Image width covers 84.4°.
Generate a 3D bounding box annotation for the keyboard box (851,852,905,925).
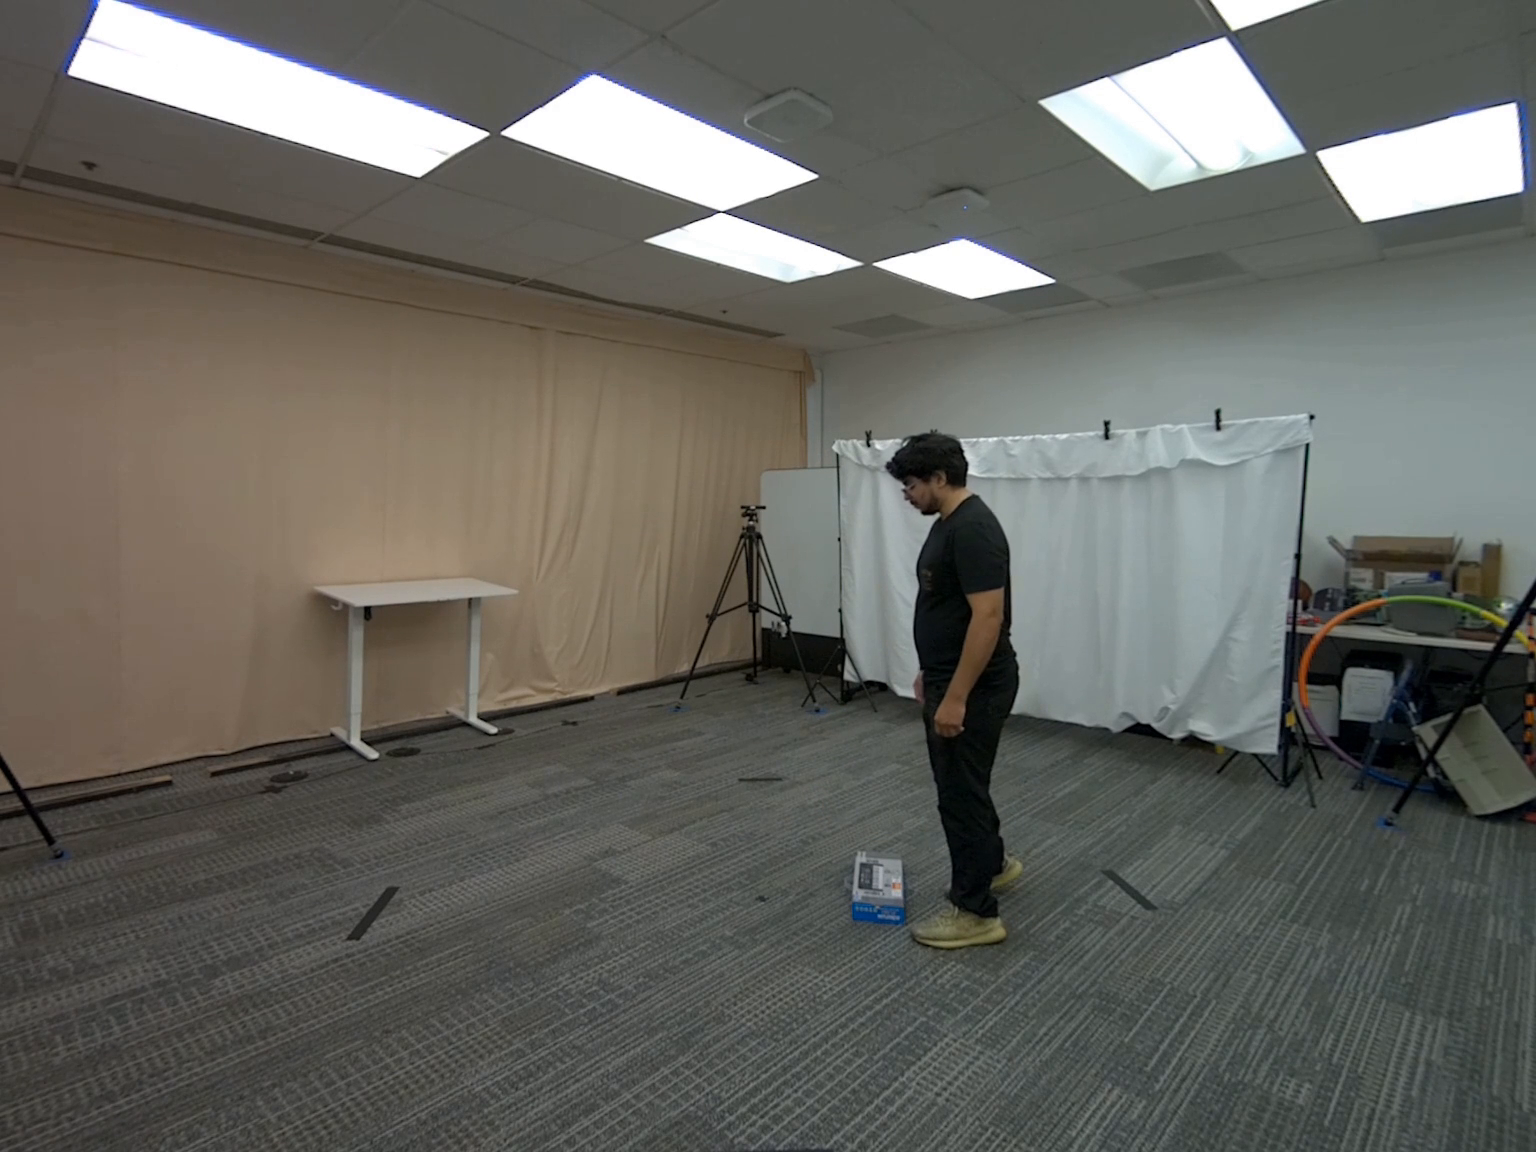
[{"bbox_3d":[0.403,1.110,3.022,0.178,0.059,0.433,1,5,8],"label":"keyboard box"}]
